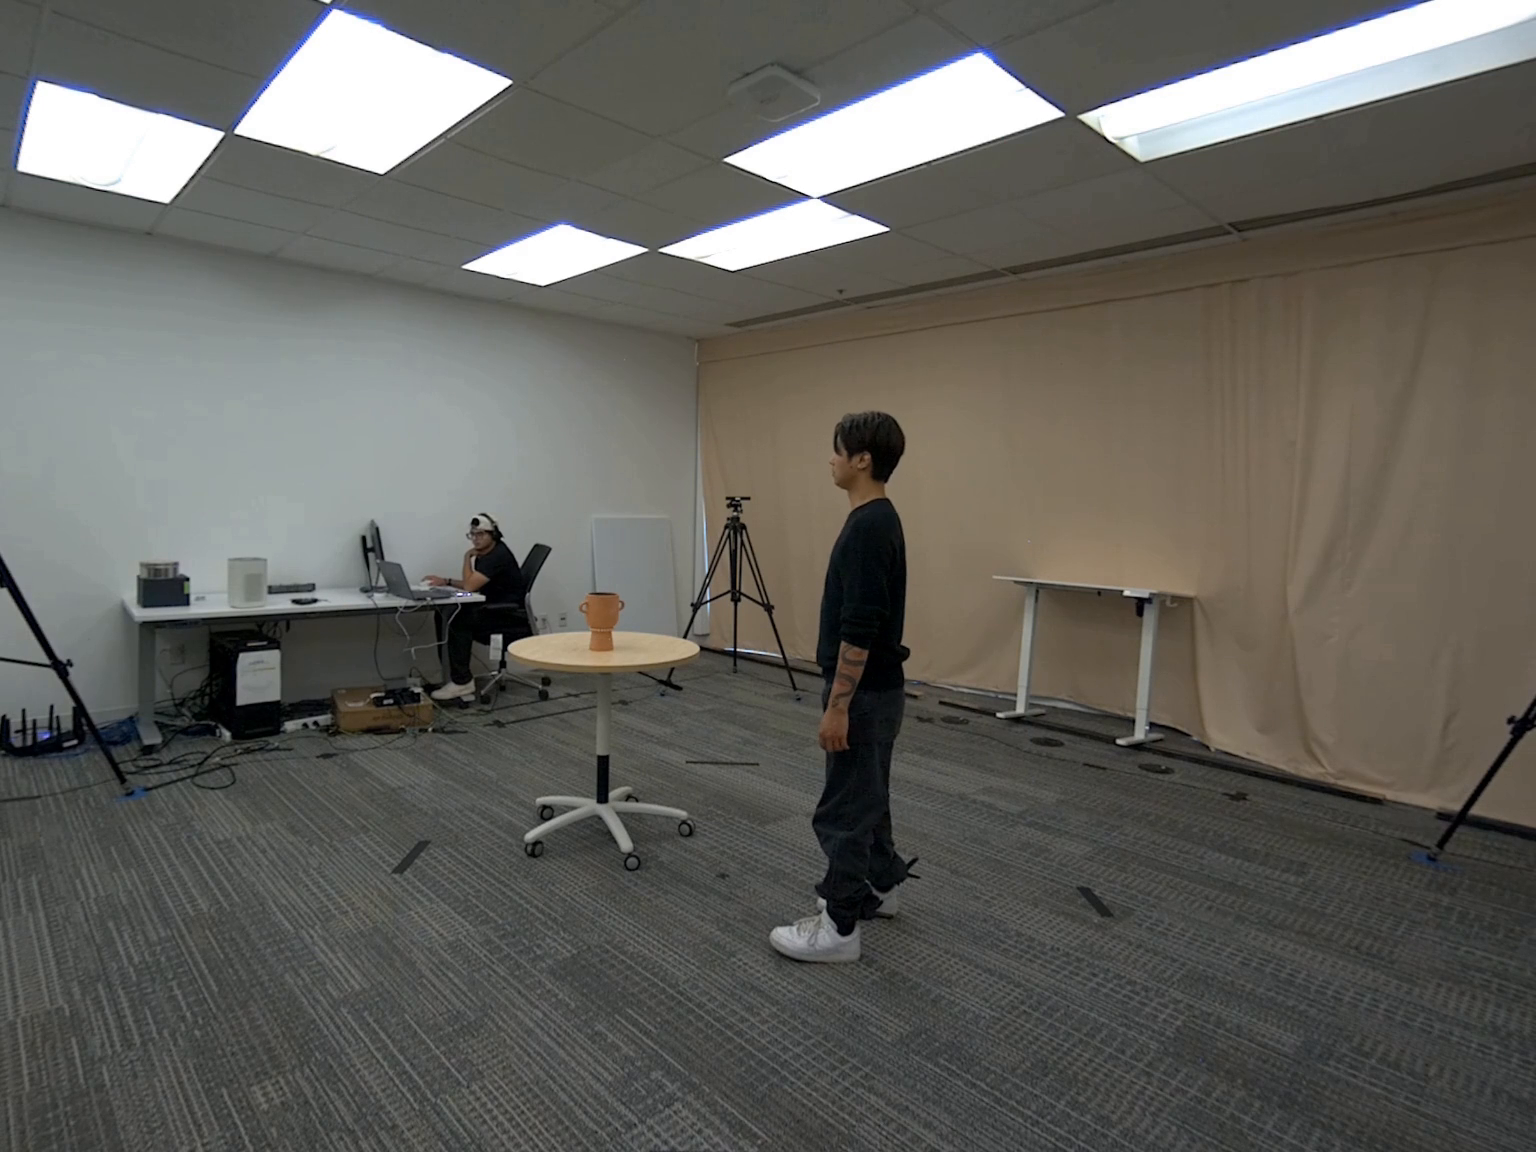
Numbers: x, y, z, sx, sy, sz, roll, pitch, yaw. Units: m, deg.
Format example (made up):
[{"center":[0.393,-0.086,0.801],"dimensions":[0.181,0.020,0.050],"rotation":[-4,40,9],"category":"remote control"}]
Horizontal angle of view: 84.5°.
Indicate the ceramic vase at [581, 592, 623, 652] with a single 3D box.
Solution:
[{"center":[-0.671,0.182,3.345],"dimensions":[0.159,0.219,0.135],"rotation":[2,4,1],"category":"ceramic vase"}]
